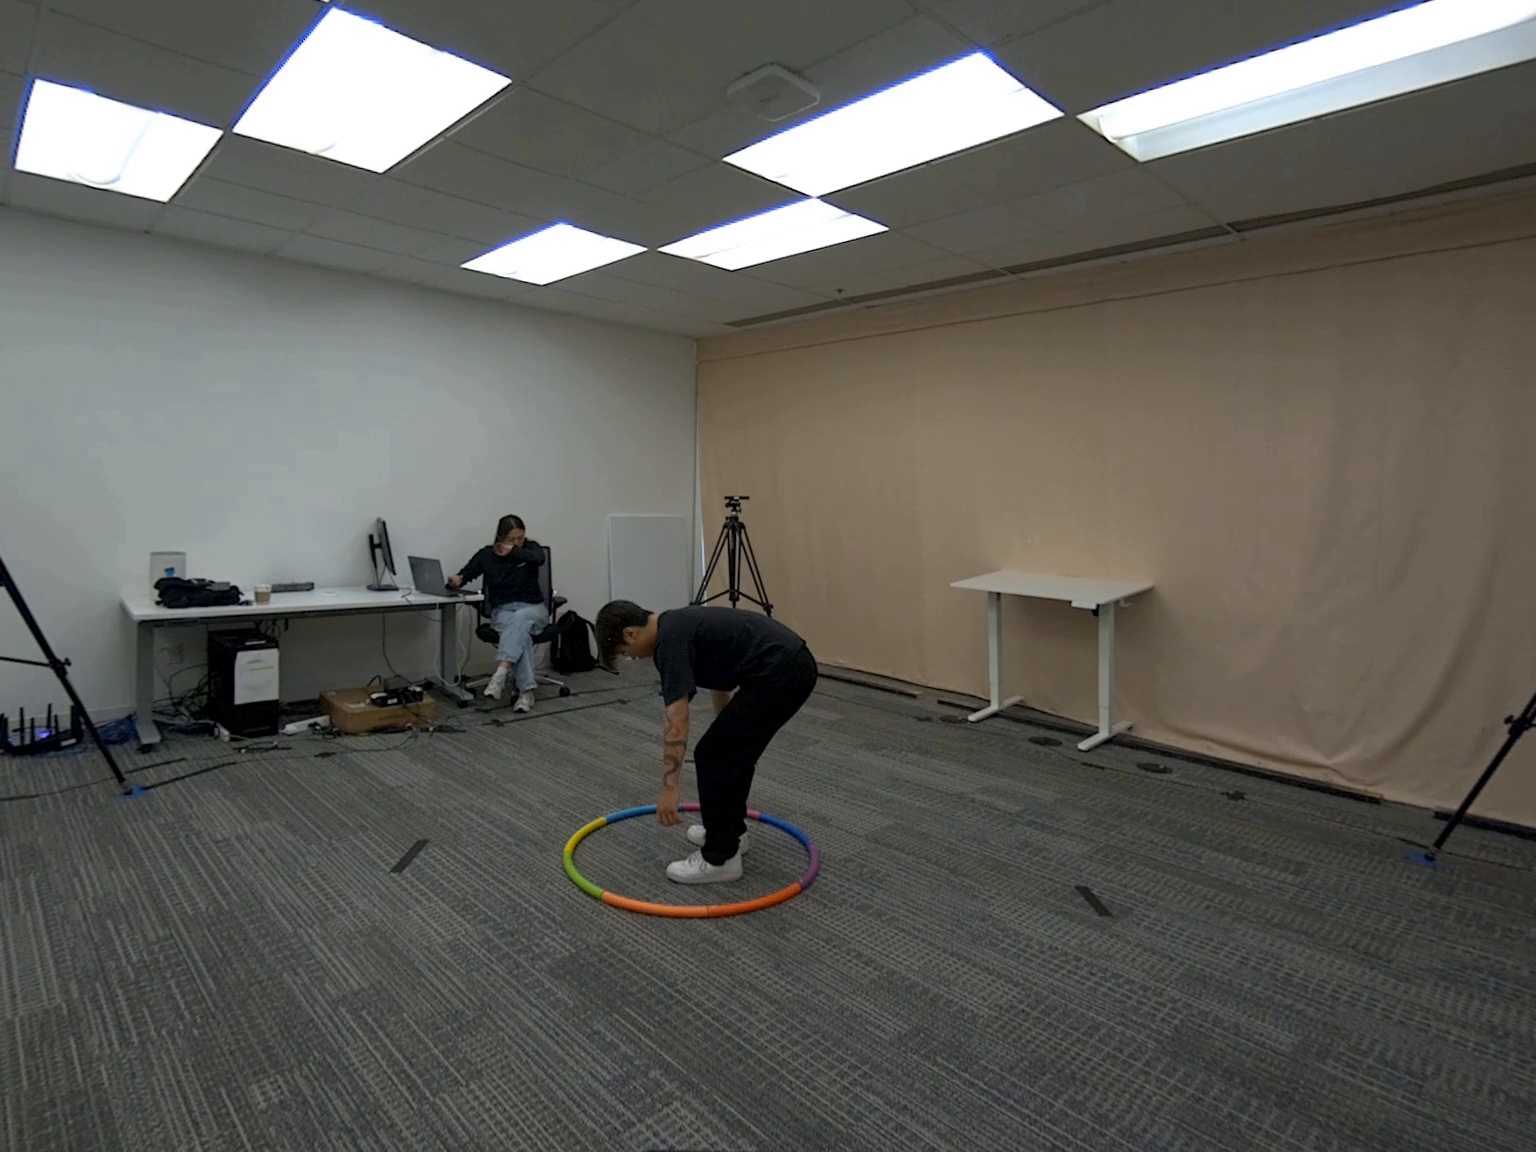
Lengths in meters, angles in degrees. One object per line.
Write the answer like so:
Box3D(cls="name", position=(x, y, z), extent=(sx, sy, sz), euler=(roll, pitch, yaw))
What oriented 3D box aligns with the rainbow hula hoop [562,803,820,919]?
Box3D(cls="rainbow hula hoop", position=(-0.300, 1.059, 3.264), extent=(0.978, 0.035, 0.982), euler=(2, 5, -1))
